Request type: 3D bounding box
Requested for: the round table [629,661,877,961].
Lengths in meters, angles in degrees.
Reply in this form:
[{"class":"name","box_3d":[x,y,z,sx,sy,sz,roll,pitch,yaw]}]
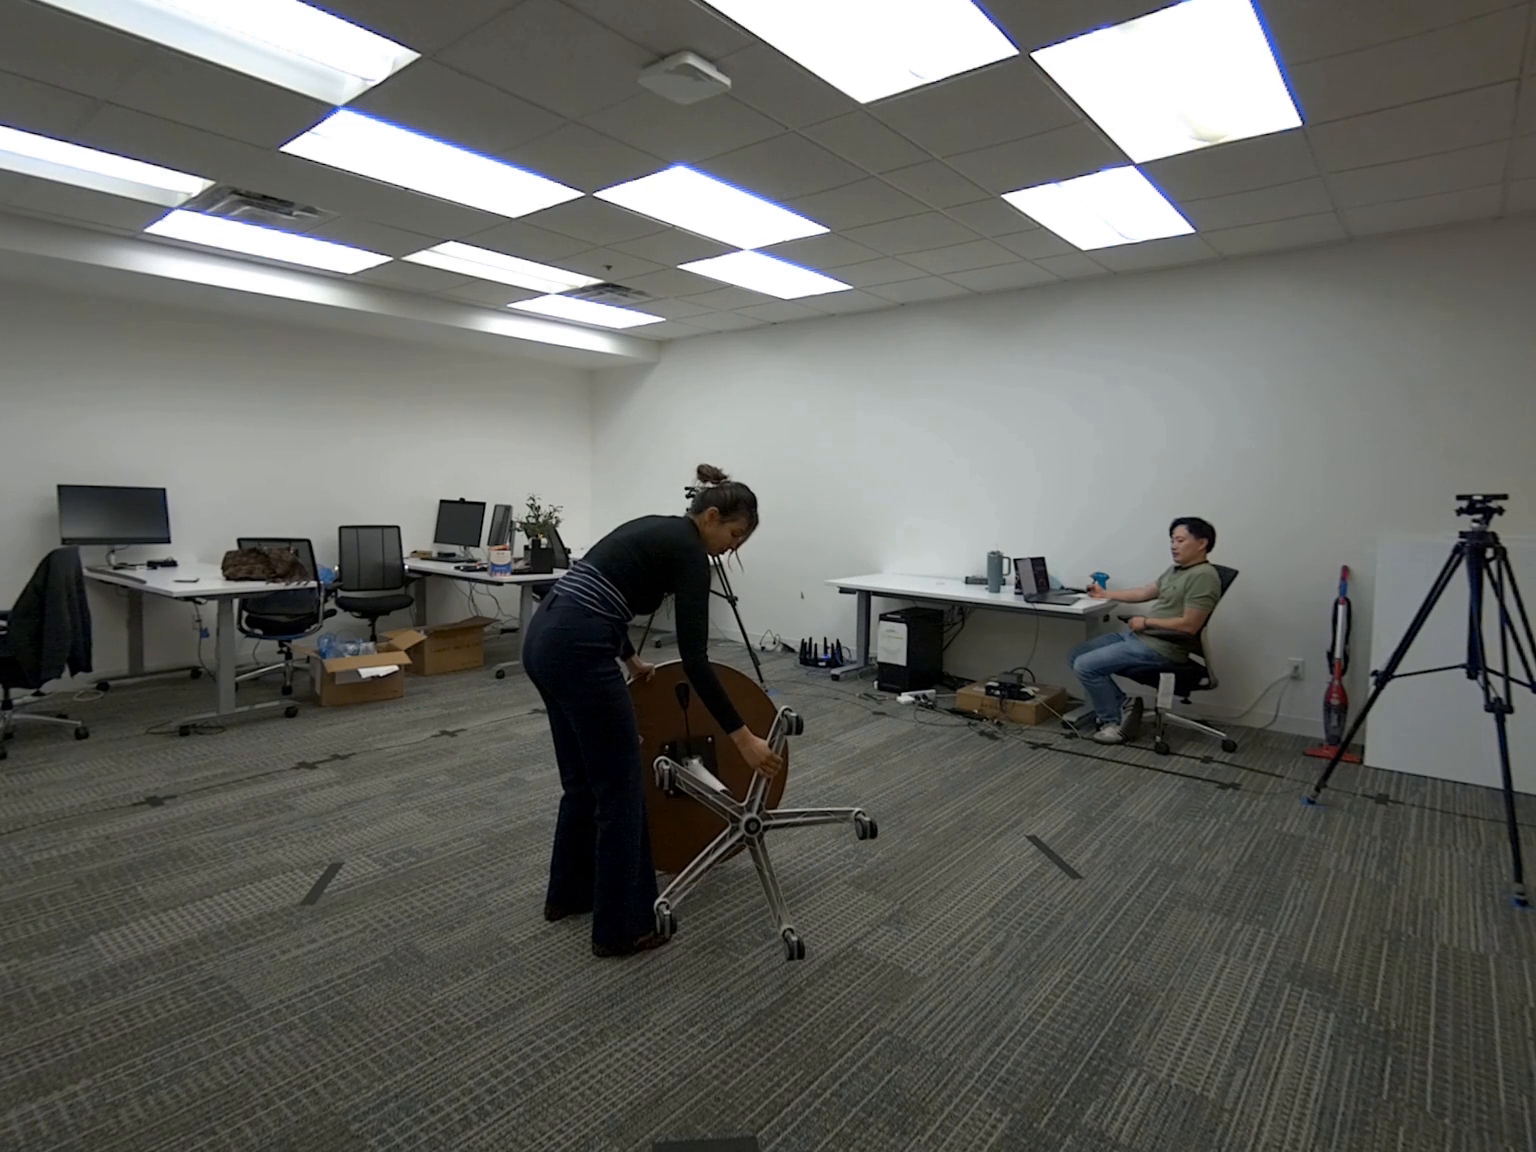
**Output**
[{"class":"round table","box_3d":[-0.159,0.706,2.716,0.750,0.763,0.809,-1,2,-18]}]
